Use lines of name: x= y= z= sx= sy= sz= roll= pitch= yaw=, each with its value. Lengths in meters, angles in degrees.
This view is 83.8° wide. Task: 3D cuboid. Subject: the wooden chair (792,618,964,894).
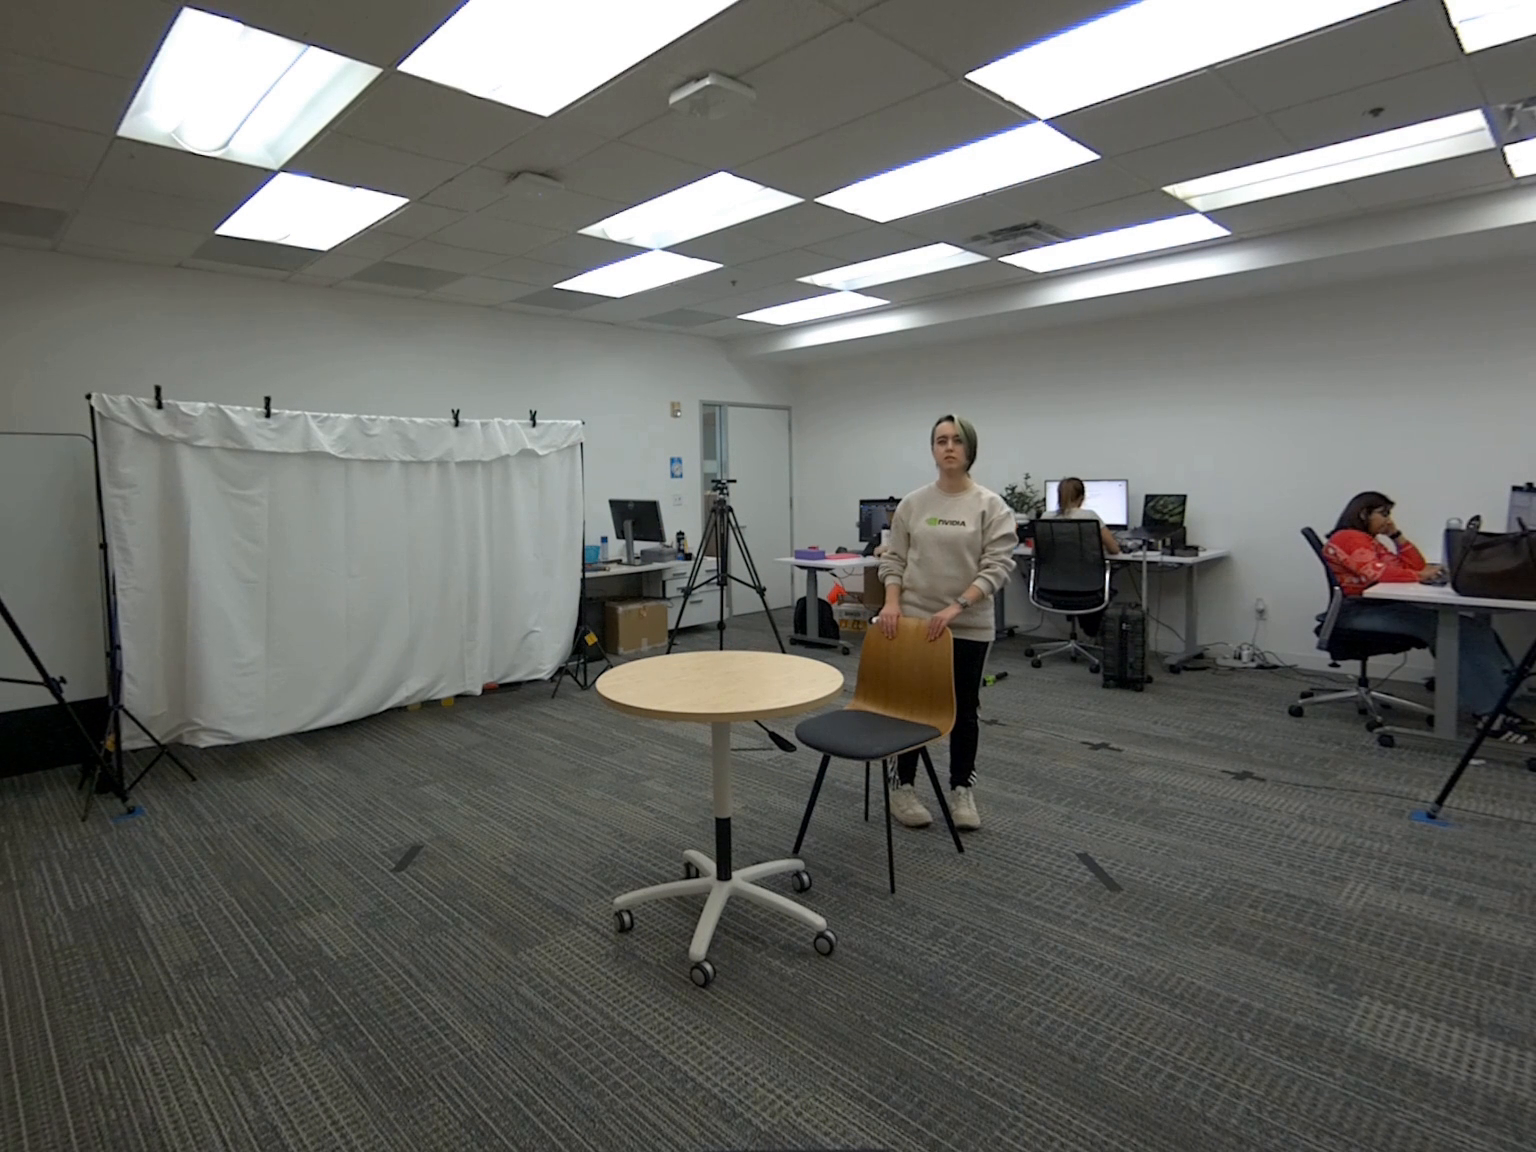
wooden chair: x=0.396 y=0.606 z=3.136 sx=0.508 sy=0.877 sz=0.493 roll=1 pitch=1 yaw=-45
